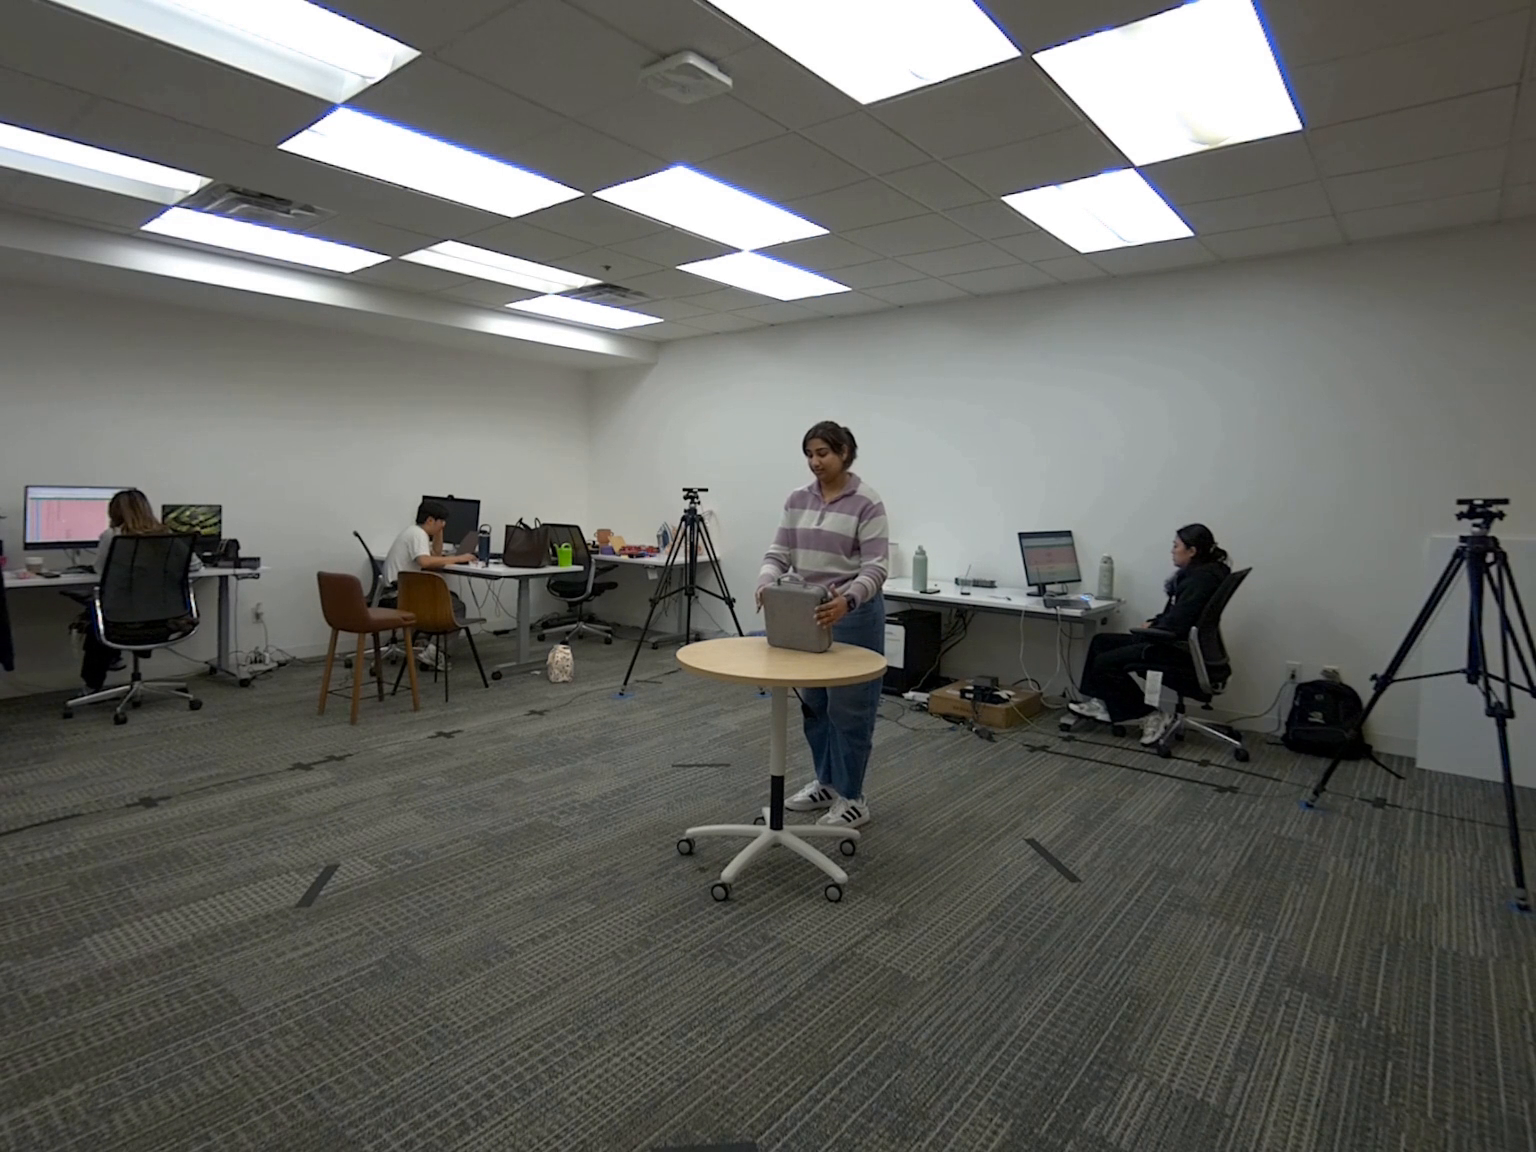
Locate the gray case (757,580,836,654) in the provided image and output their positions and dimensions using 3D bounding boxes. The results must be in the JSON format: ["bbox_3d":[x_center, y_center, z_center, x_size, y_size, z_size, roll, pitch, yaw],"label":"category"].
[{"bbox_3d":[0.106,0.141,3.238,0.265,0.257,0.102,2,14,36],"label":"gray case"}]
